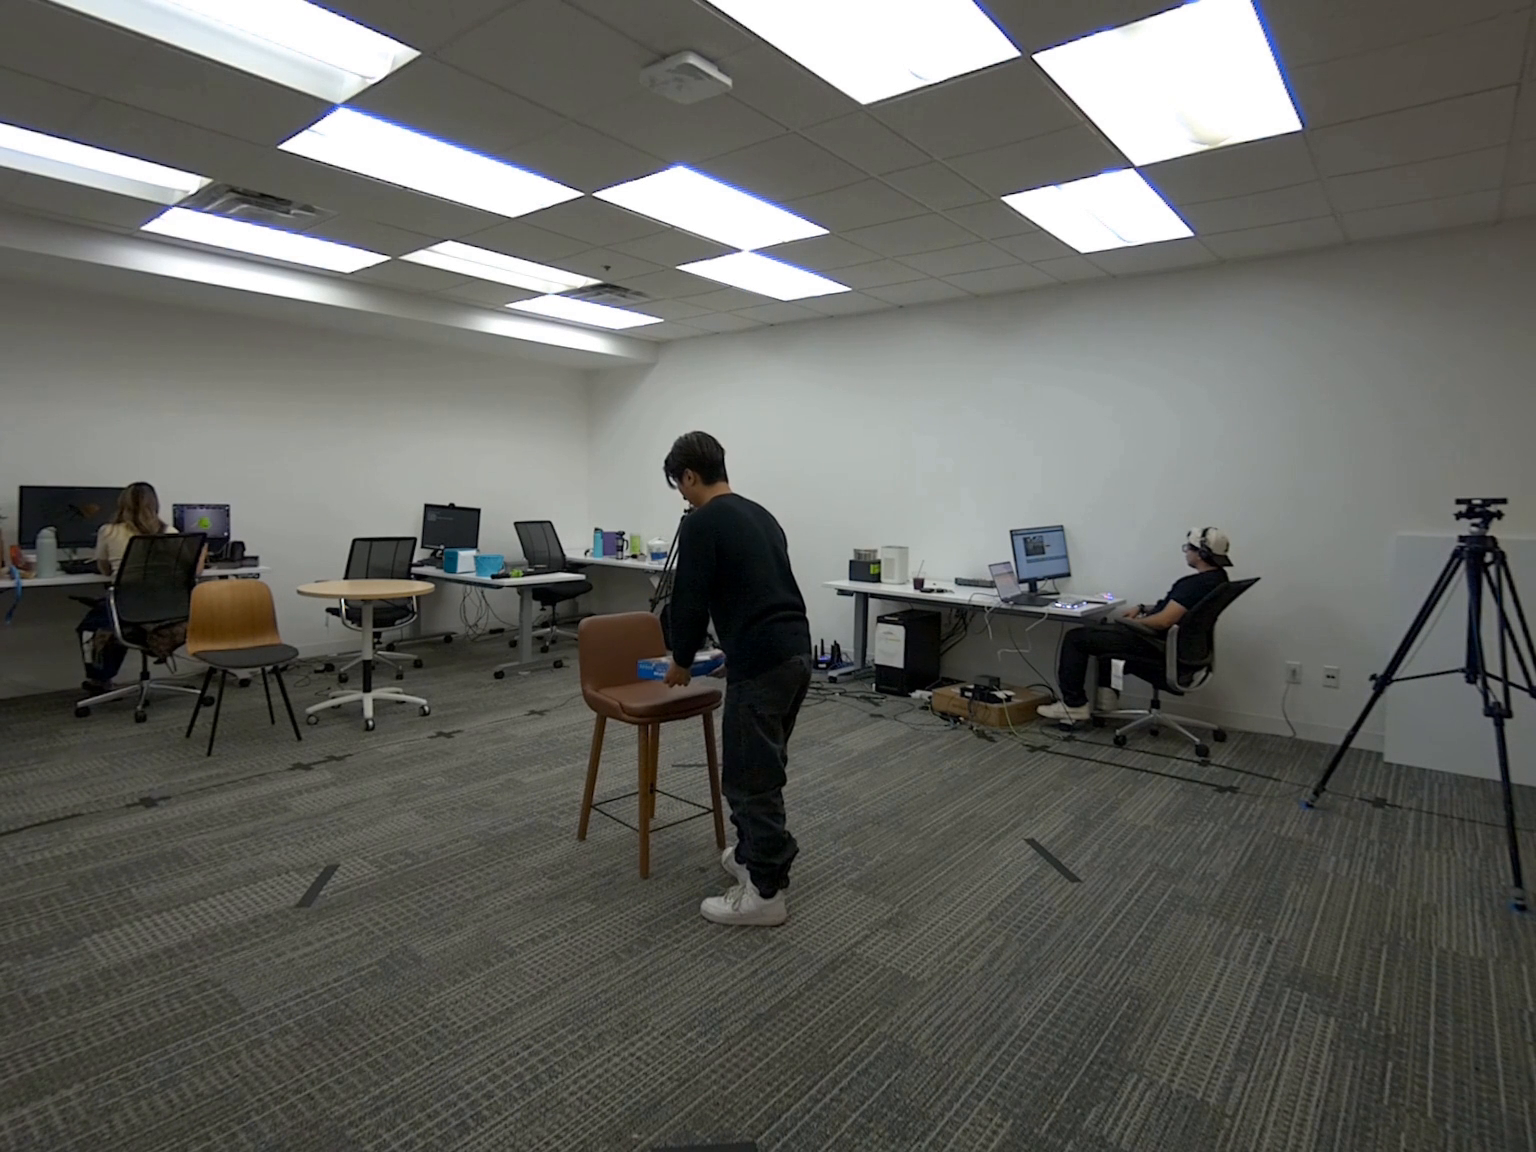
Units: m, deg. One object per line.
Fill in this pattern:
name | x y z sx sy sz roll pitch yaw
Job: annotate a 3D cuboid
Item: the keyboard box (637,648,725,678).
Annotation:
keyboard box | -0.273 0.324 3.172 0.181 0.059 0.423 1 2 41
